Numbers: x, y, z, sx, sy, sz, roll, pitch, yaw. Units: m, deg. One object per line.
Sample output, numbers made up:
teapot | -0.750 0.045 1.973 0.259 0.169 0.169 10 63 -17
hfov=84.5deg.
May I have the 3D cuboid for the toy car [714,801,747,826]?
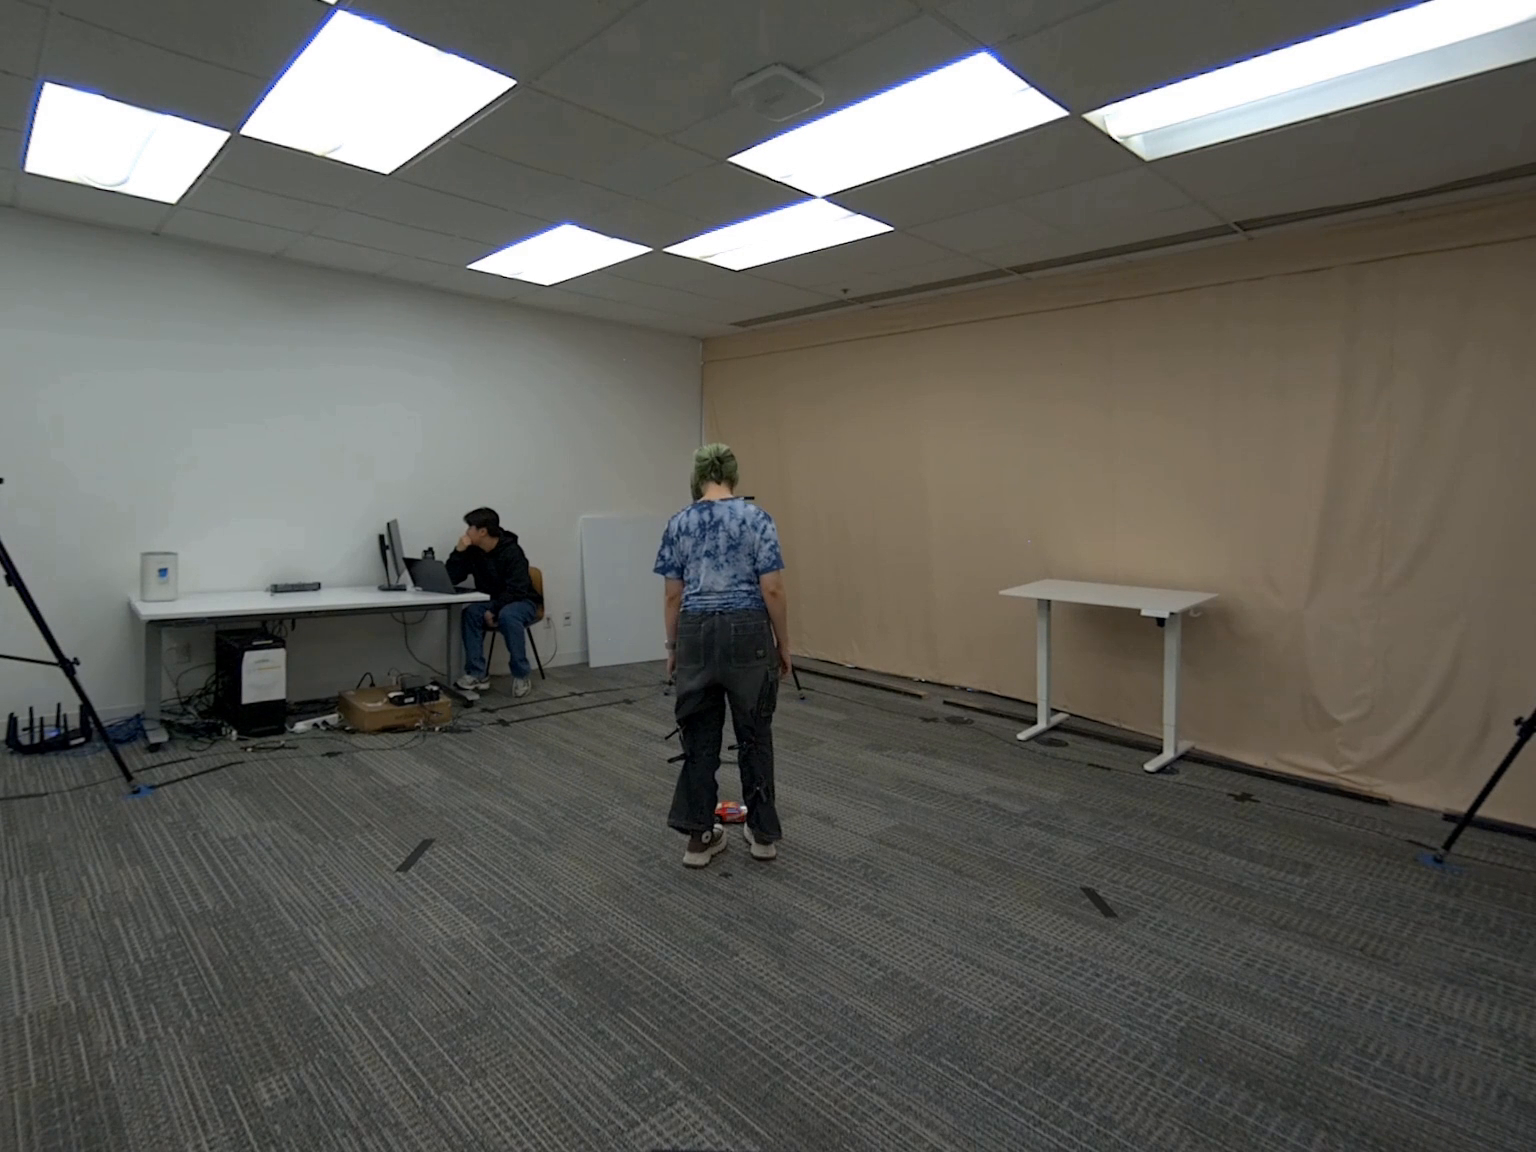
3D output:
toy car | -0.177 1.027 3.636 0.254 0.083 0.131 13 4 -1
